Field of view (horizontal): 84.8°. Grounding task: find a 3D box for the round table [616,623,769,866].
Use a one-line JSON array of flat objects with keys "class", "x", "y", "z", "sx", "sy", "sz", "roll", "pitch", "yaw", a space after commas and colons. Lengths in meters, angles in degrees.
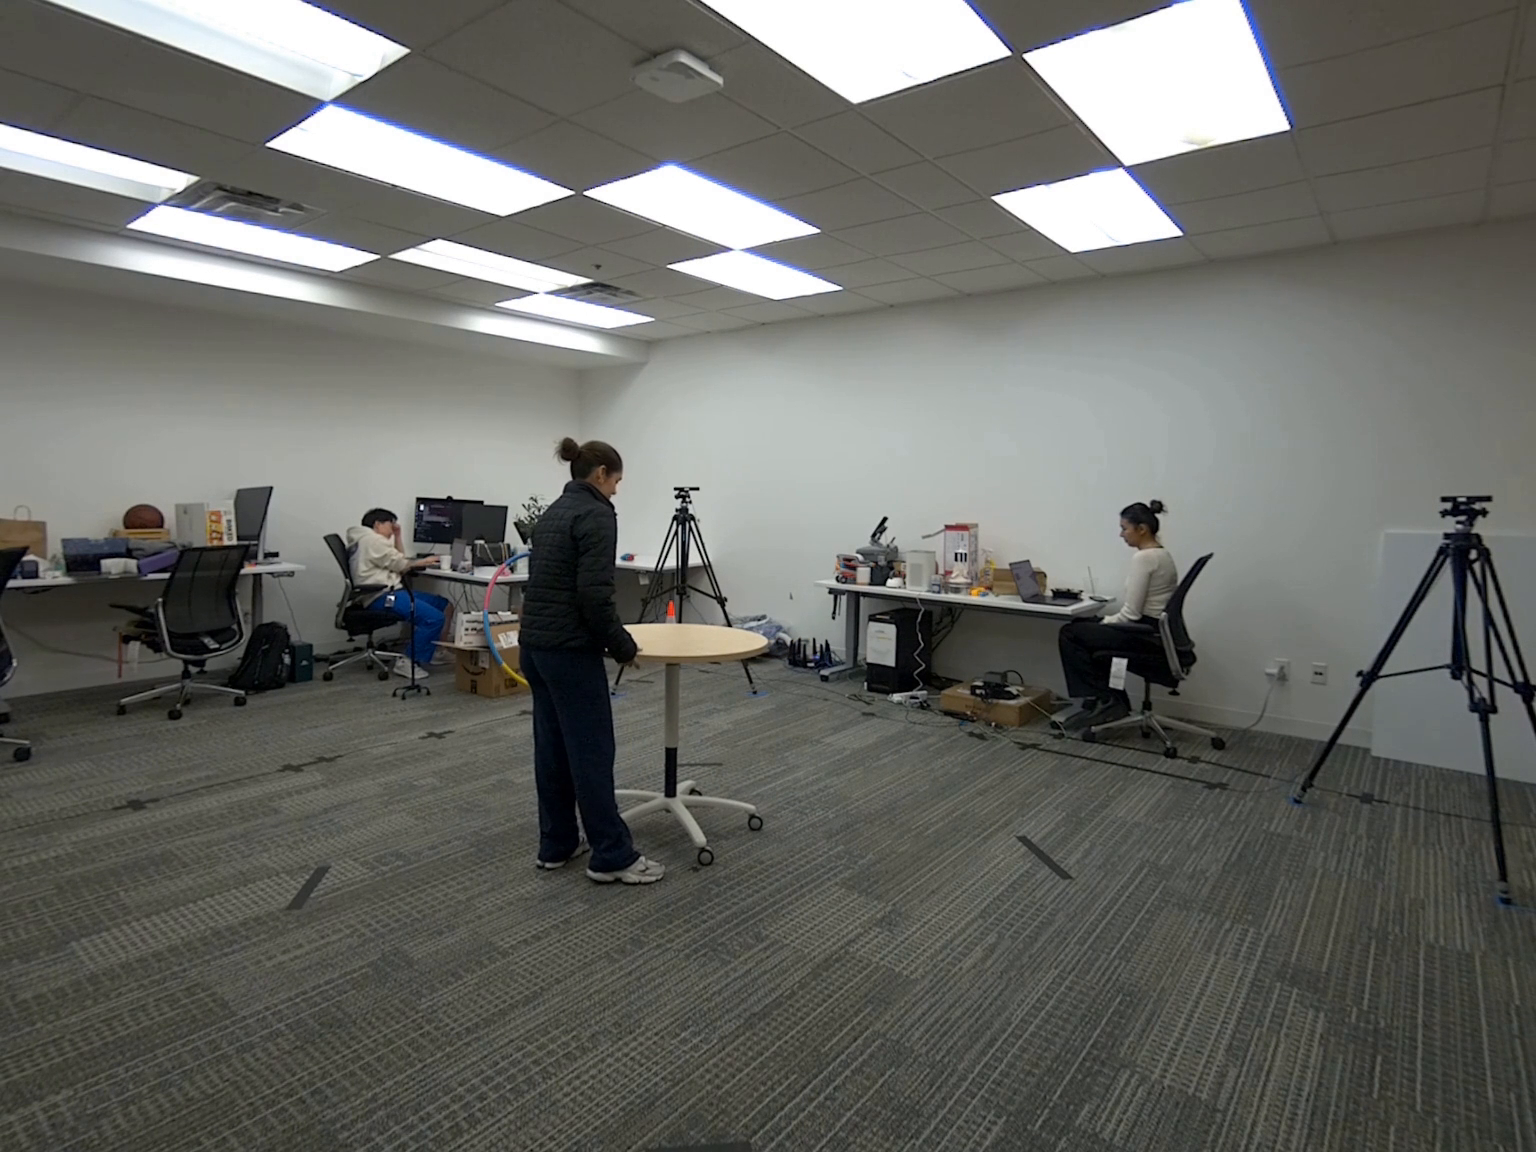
[{"class": "round table", "x": -0.379, "y": 0.636, "z": 3.451, "sx": 0.784, "sy": 0.784, "sz": 0.789, "roll": 1, "pitch": 4, "yaw": -2}]
